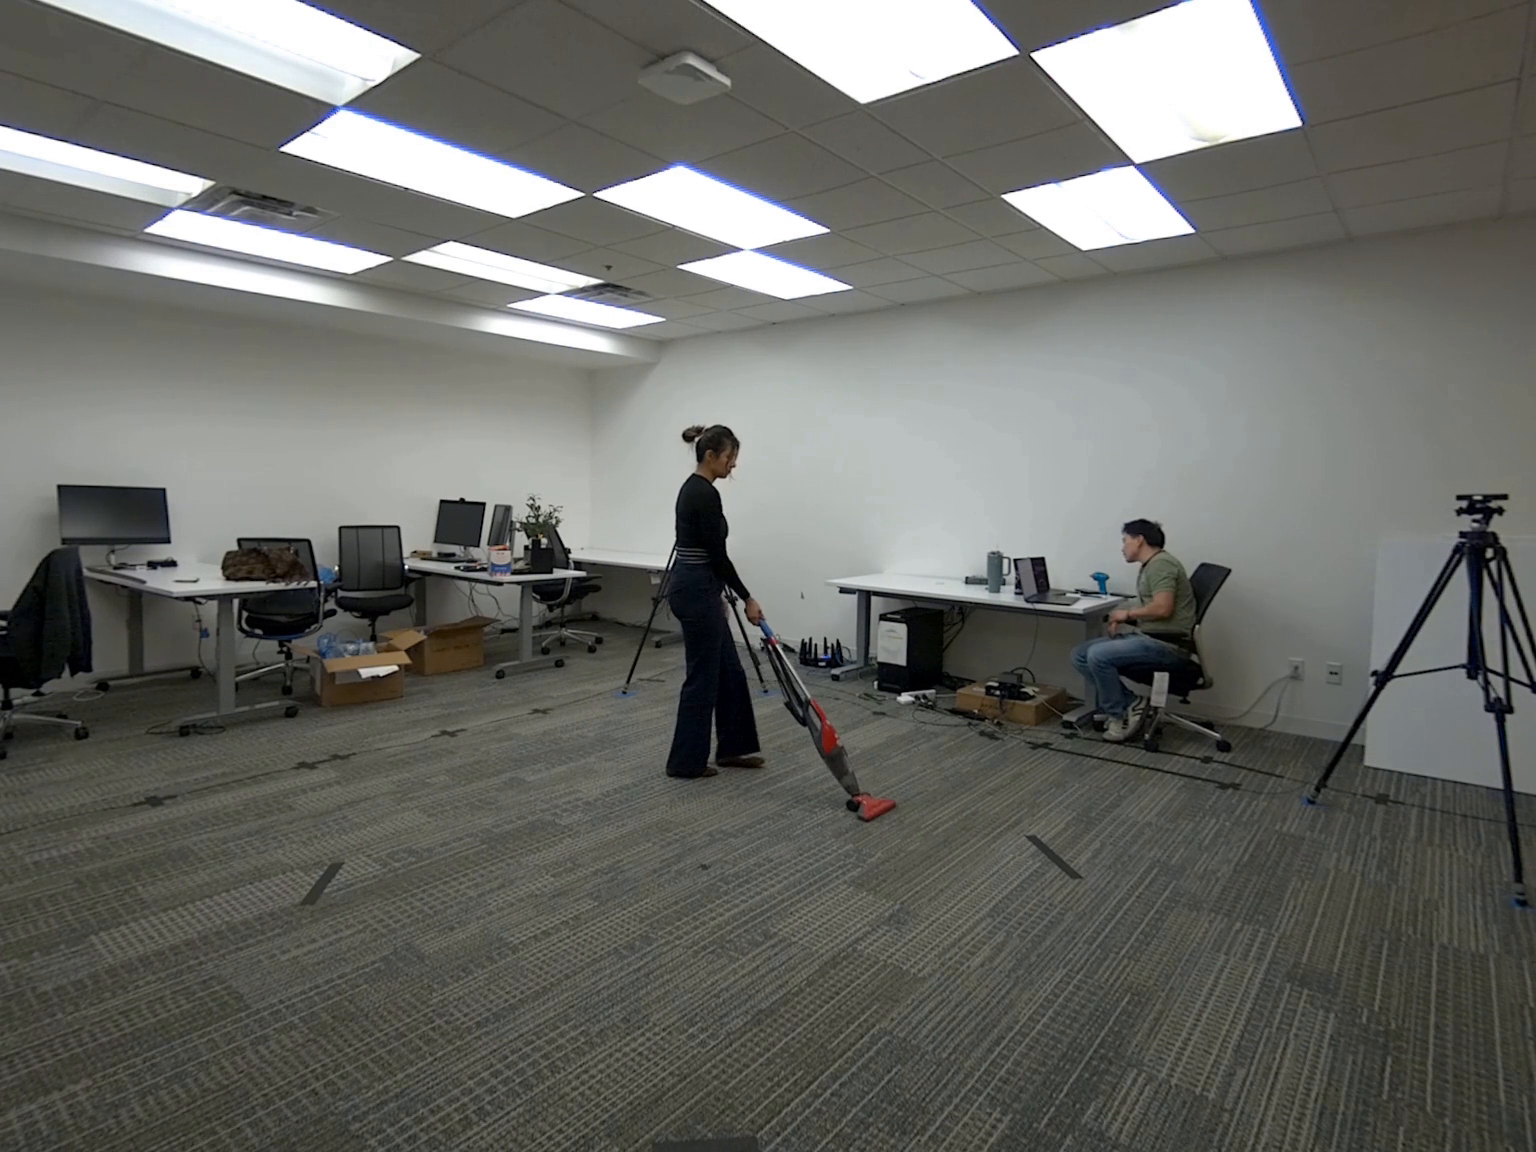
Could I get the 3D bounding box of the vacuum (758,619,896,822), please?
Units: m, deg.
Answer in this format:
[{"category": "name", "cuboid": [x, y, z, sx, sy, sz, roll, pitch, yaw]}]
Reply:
[{"category": "vacuum", "cuboid": [0.170, 0.589, 3.900, 0.144, 1.080, 0.244, -42, -23, 21]}]
